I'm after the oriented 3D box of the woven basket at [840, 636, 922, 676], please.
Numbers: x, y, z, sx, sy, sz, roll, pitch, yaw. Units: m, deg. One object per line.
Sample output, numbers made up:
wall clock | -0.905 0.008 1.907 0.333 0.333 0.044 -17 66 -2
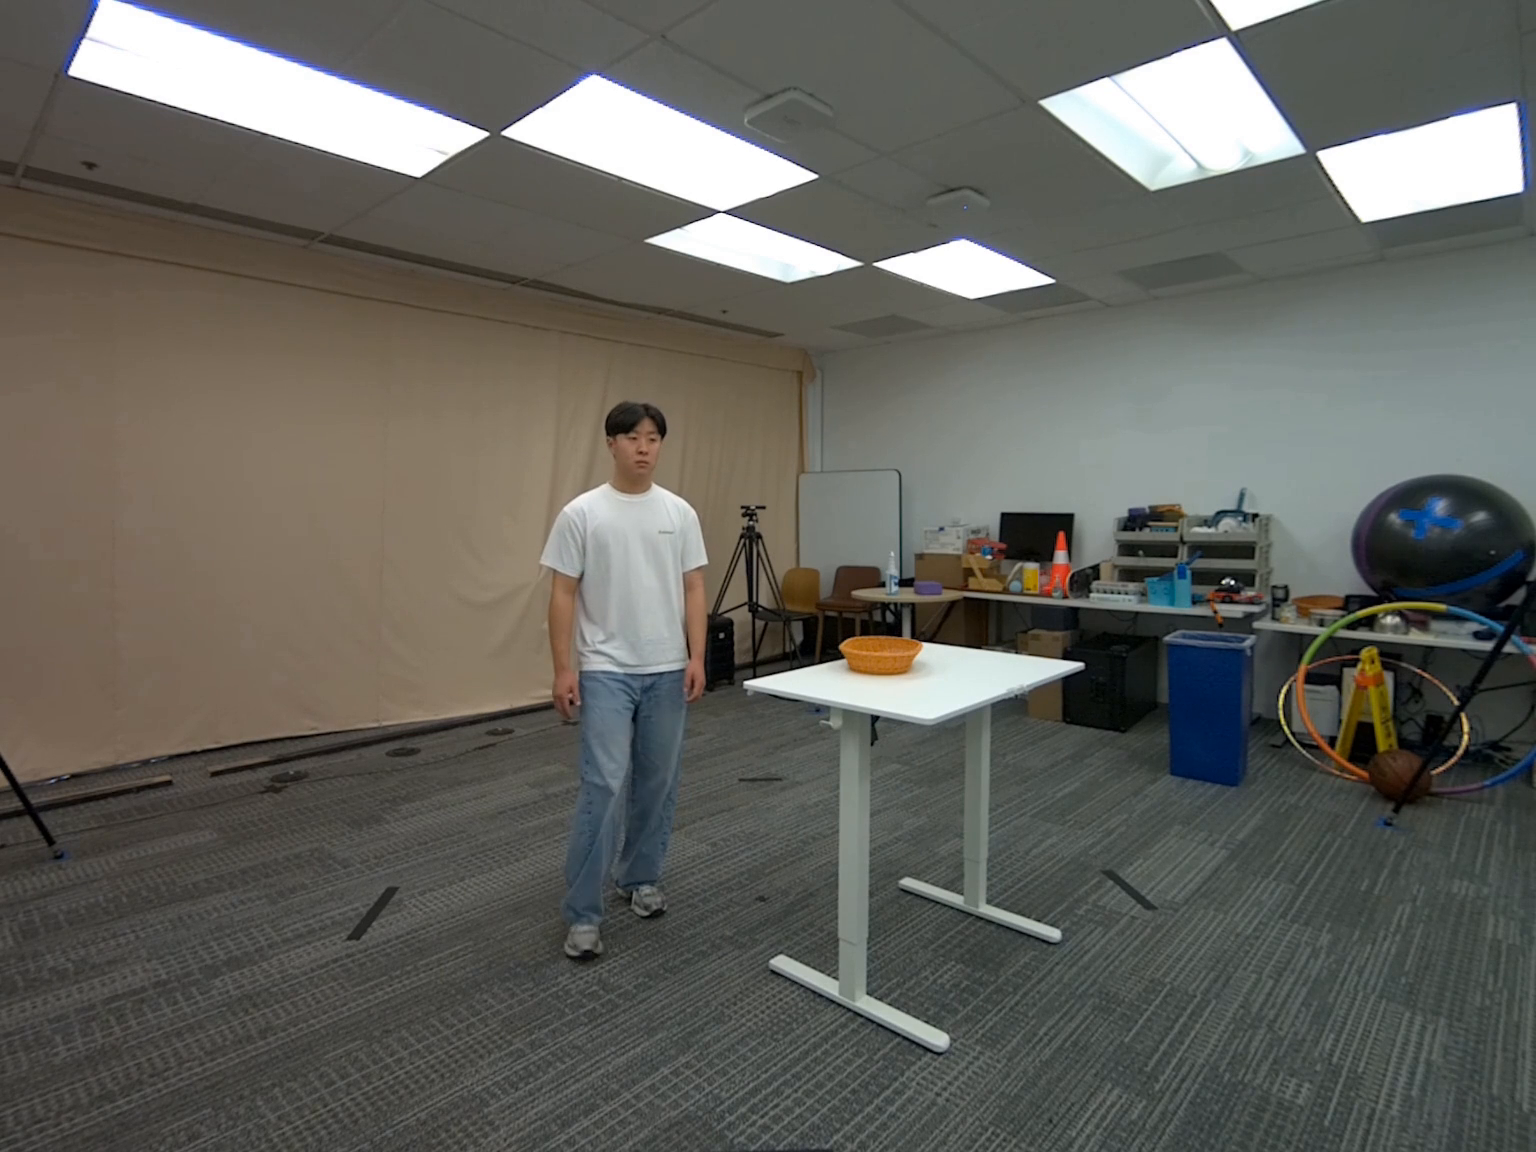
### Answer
woven basket | 0.372 0.259 2.634 0.258 0.073 0.343 1 5 21
